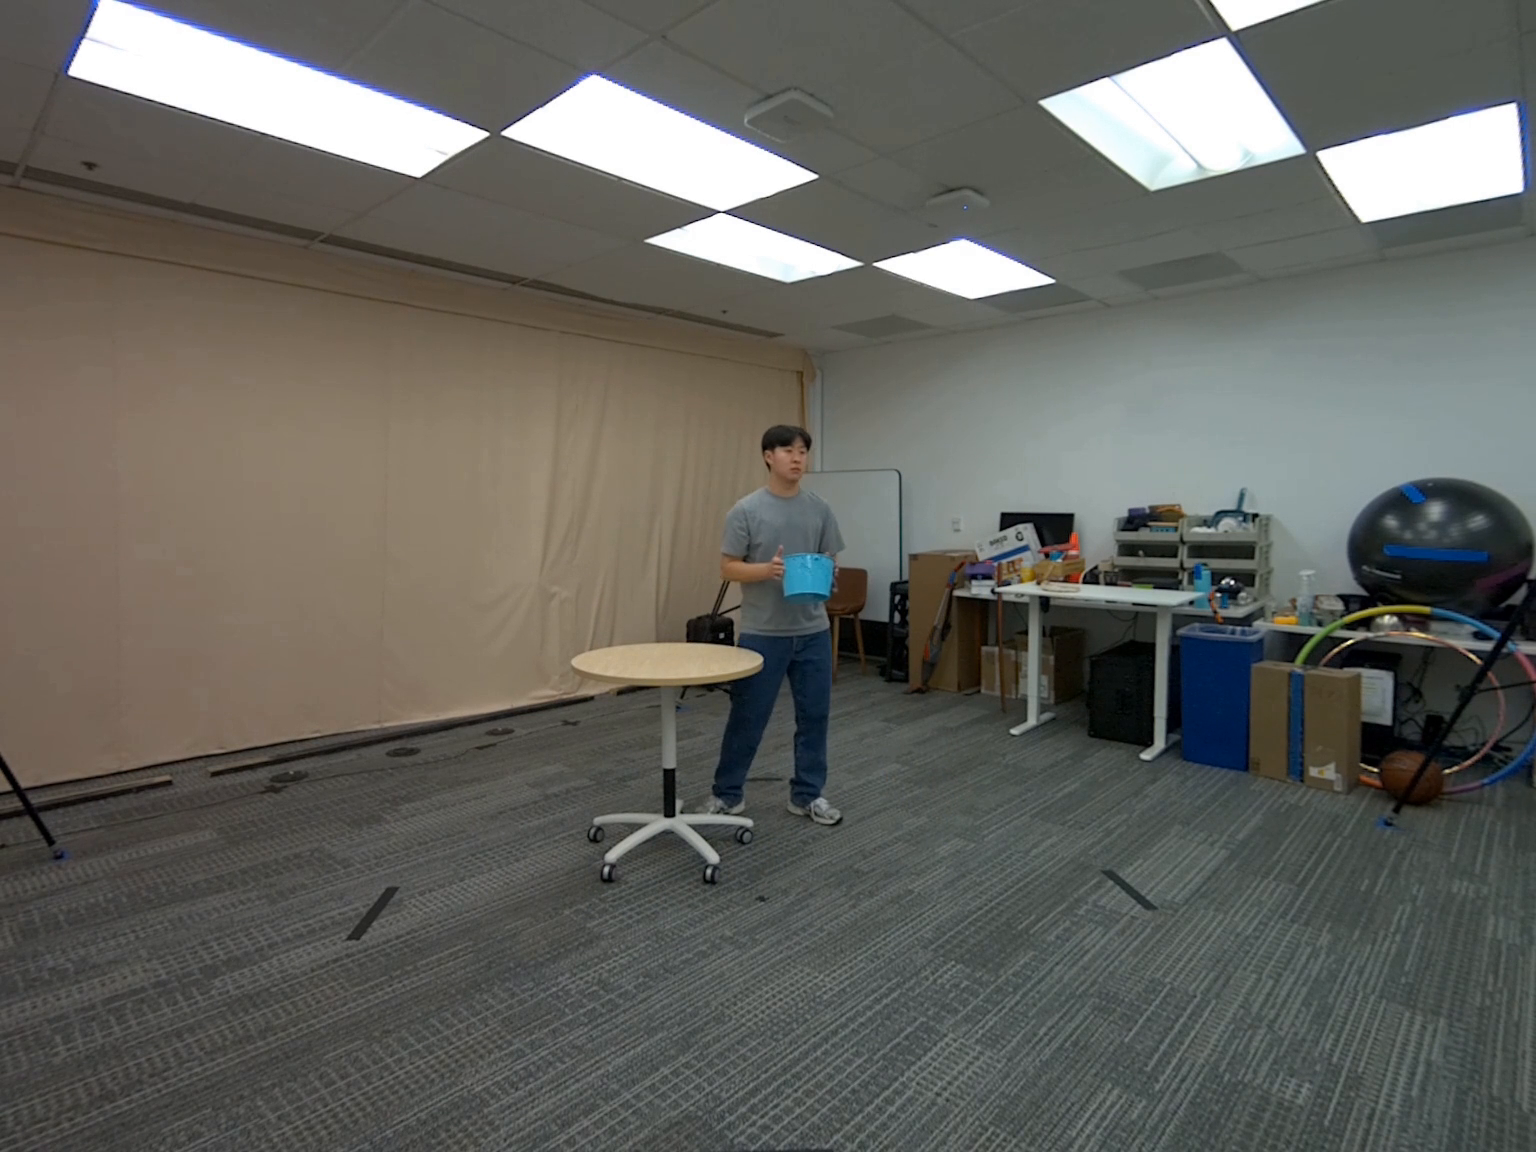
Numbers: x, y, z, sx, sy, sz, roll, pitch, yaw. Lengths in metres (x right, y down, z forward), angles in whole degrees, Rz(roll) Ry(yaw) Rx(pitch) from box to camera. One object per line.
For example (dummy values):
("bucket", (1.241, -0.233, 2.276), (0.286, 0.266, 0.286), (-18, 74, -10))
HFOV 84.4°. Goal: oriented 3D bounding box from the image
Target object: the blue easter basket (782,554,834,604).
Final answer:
("blue easter basket", (0.160, 0.020, 3.408), (0.243, 0.157, 0.241), (2, -15, -1))
